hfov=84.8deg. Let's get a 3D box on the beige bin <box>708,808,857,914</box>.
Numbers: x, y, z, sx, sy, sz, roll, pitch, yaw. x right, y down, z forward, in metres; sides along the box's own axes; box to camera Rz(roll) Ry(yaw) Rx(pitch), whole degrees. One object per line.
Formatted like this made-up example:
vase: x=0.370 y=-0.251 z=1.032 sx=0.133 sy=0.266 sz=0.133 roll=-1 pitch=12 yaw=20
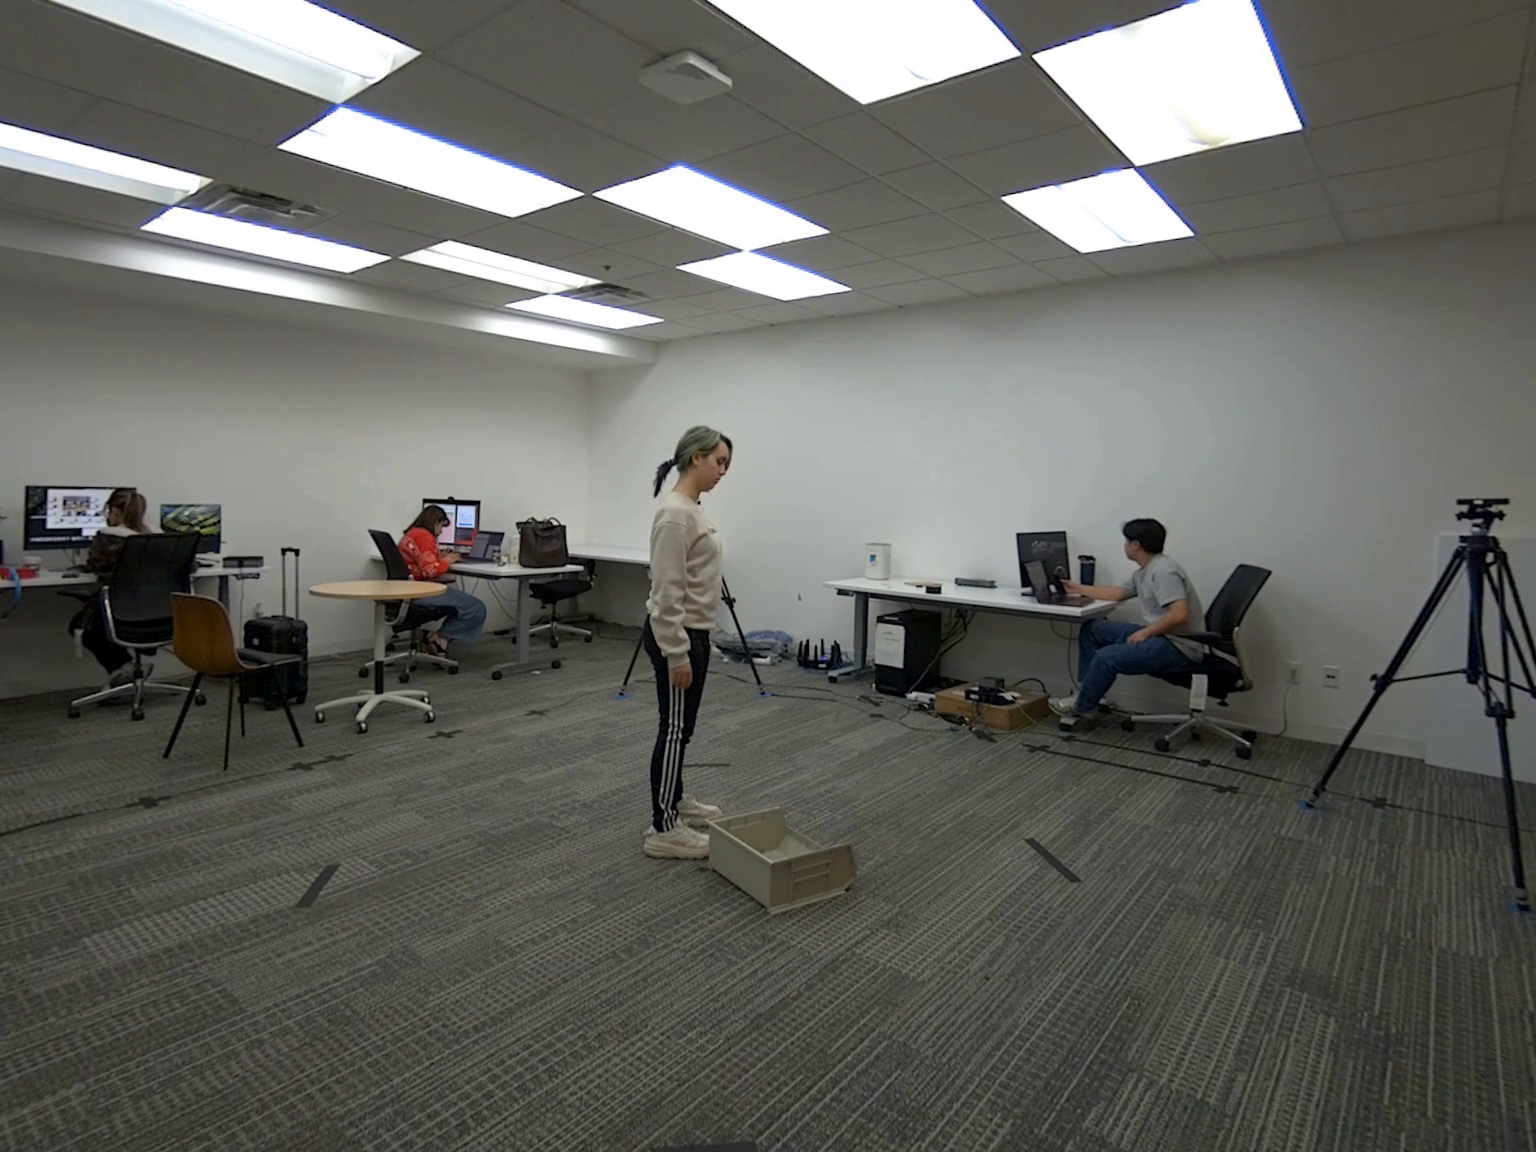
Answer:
beige bin: x=0.034 y=0.994 z=3.040 sx=0.367 sy=0.188 sz=0.436 roll=-3 pitch=7 yaw=-35
